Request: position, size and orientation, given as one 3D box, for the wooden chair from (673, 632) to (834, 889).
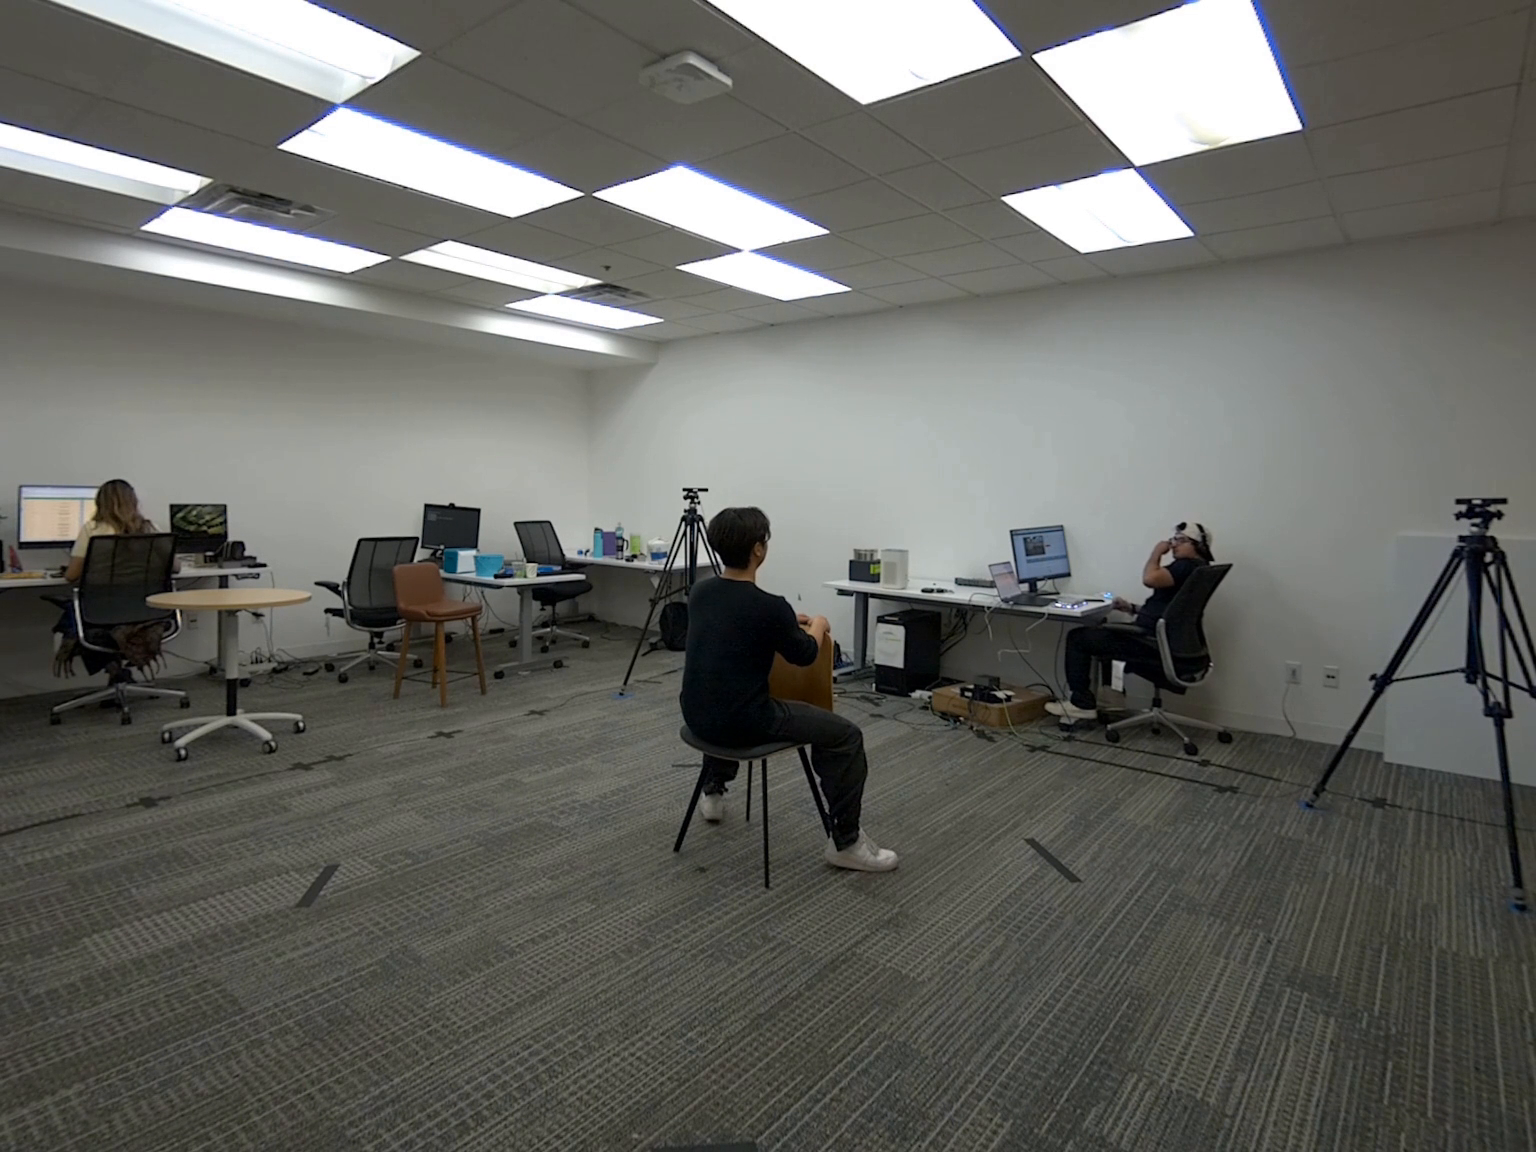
[{"bbox_3d":[-0.051,0.625,3.242,0.494,0.877,0.506,4,1,40],"label":"wooden chair"}]
